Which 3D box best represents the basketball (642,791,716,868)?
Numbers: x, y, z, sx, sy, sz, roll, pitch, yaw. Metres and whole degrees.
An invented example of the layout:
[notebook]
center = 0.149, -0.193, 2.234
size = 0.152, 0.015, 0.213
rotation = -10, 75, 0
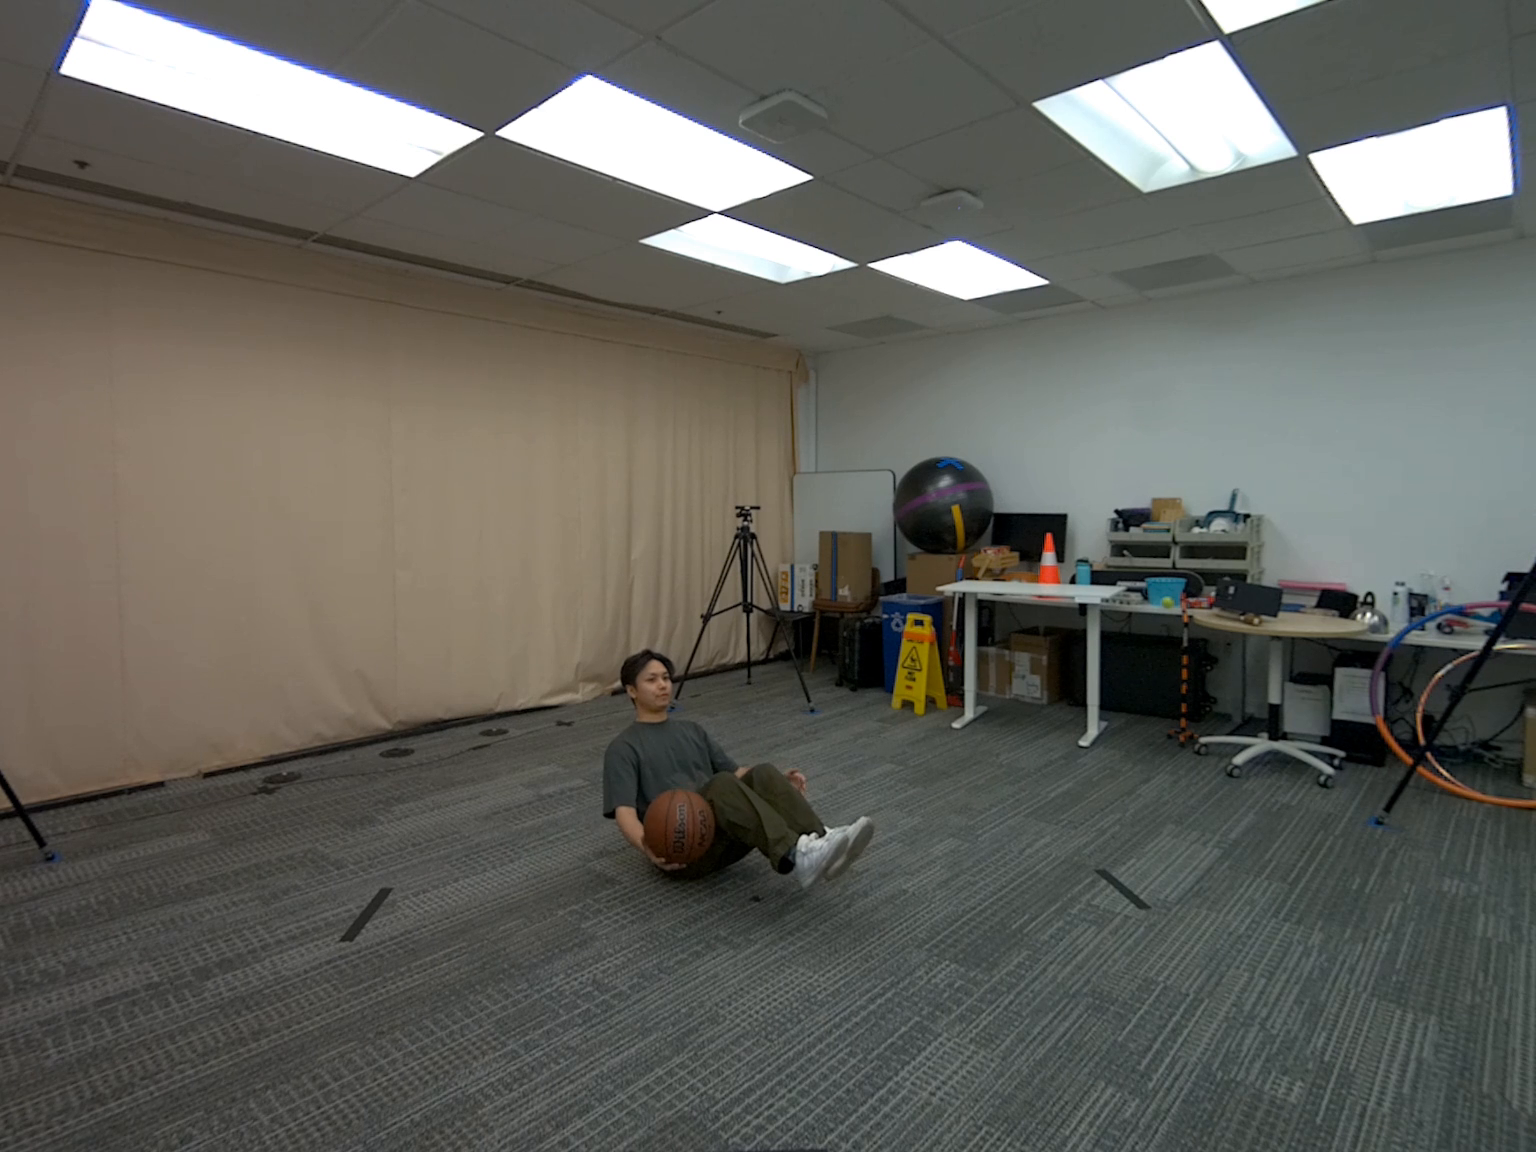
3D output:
[basketball]
center = -0.283, 0.821, 2.809
size = 0.236, 0.235, 0.237
rotation = 0, 4, -2
